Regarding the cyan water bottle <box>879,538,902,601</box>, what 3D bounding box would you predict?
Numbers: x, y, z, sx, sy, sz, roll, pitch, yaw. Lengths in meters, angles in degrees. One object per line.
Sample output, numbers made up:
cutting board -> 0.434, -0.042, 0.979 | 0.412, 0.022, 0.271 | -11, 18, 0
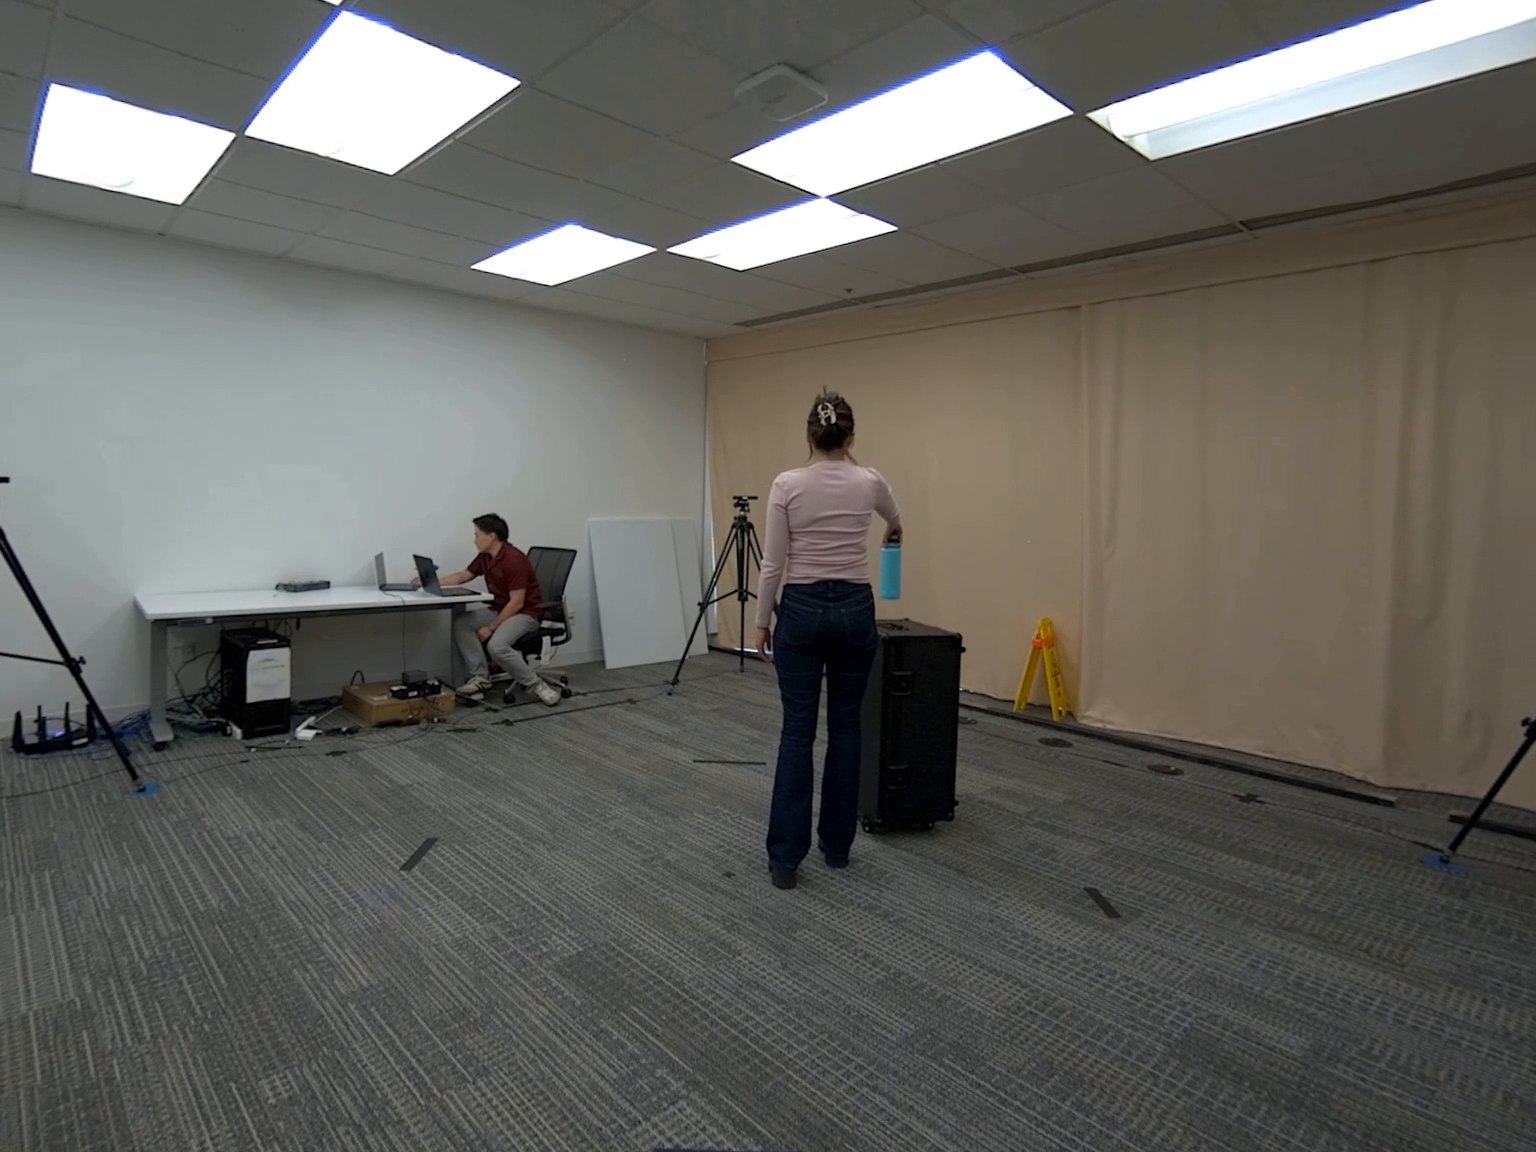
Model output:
cyan water bottle -> 0.532, -0.044, 3.710 | 0.092, 0.282, 0.093 | 0, 7, -1
